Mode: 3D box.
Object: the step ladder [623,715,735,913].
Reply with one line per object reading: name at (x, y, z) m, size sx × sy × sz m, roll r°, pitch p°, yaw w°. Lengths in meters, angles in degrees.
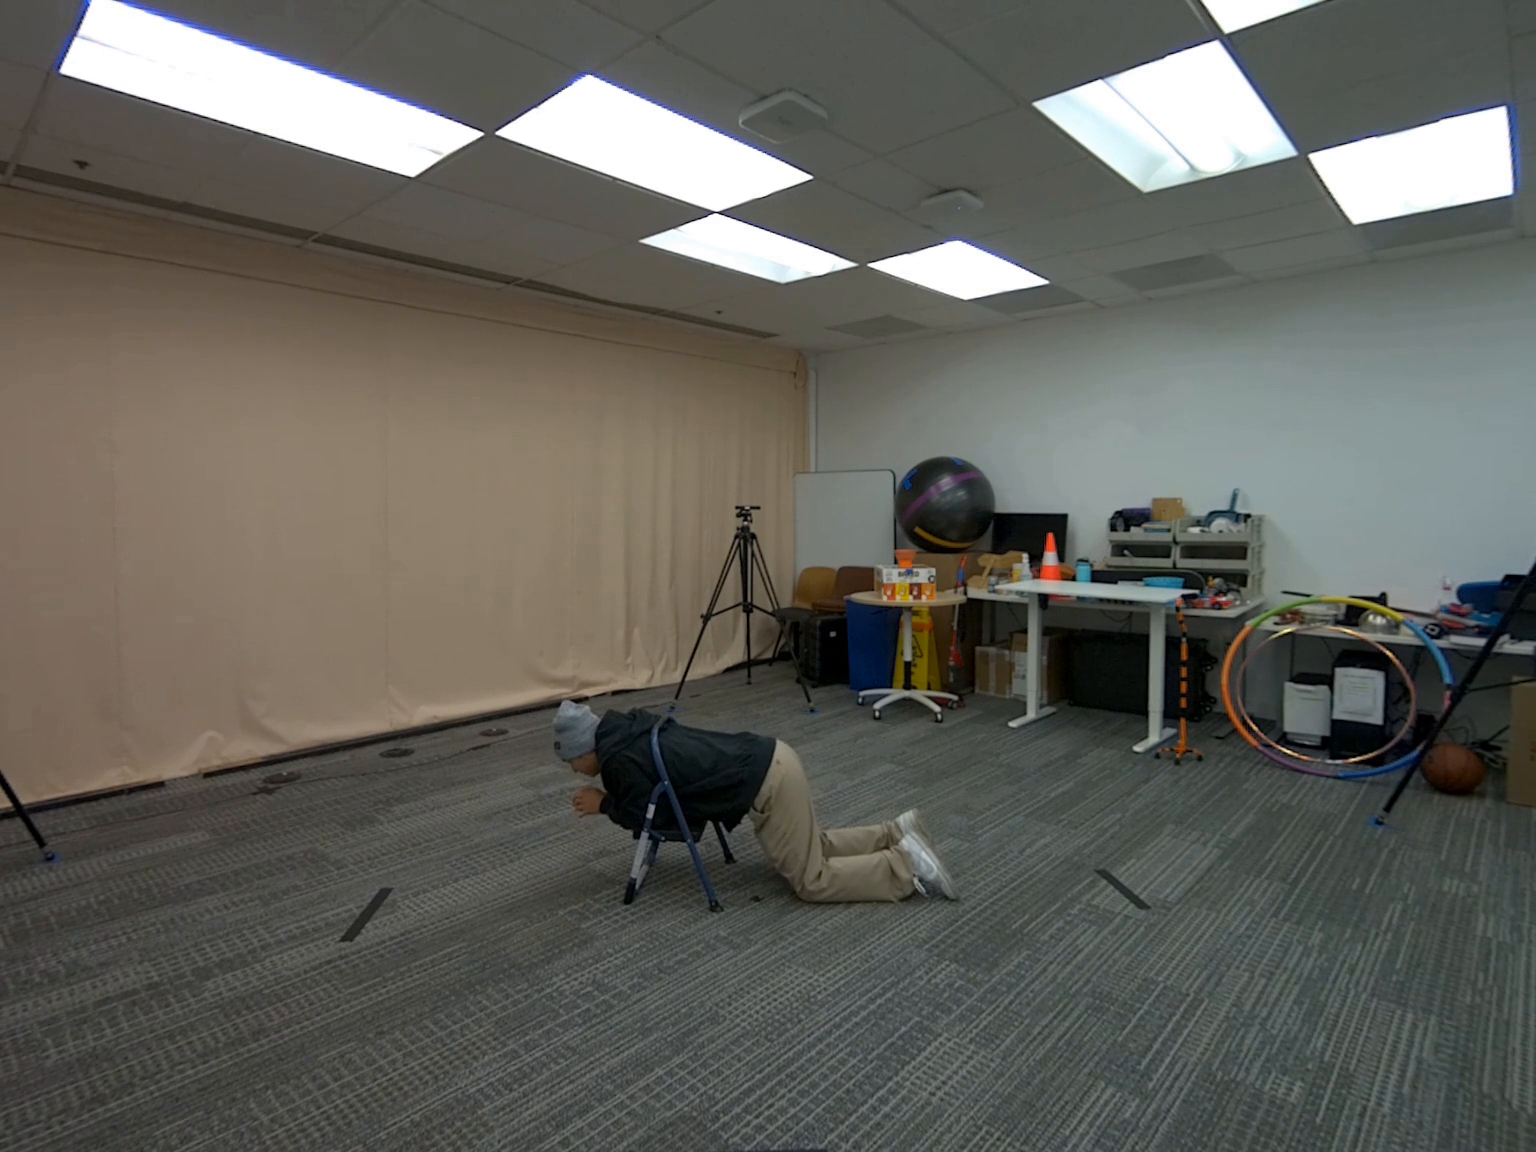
step ladder at (-0.315, 0.845, 3.103) m, size 0.352 × 0.604 × 0.429 m, roll 0°, pitch 4°, yaw 5°
